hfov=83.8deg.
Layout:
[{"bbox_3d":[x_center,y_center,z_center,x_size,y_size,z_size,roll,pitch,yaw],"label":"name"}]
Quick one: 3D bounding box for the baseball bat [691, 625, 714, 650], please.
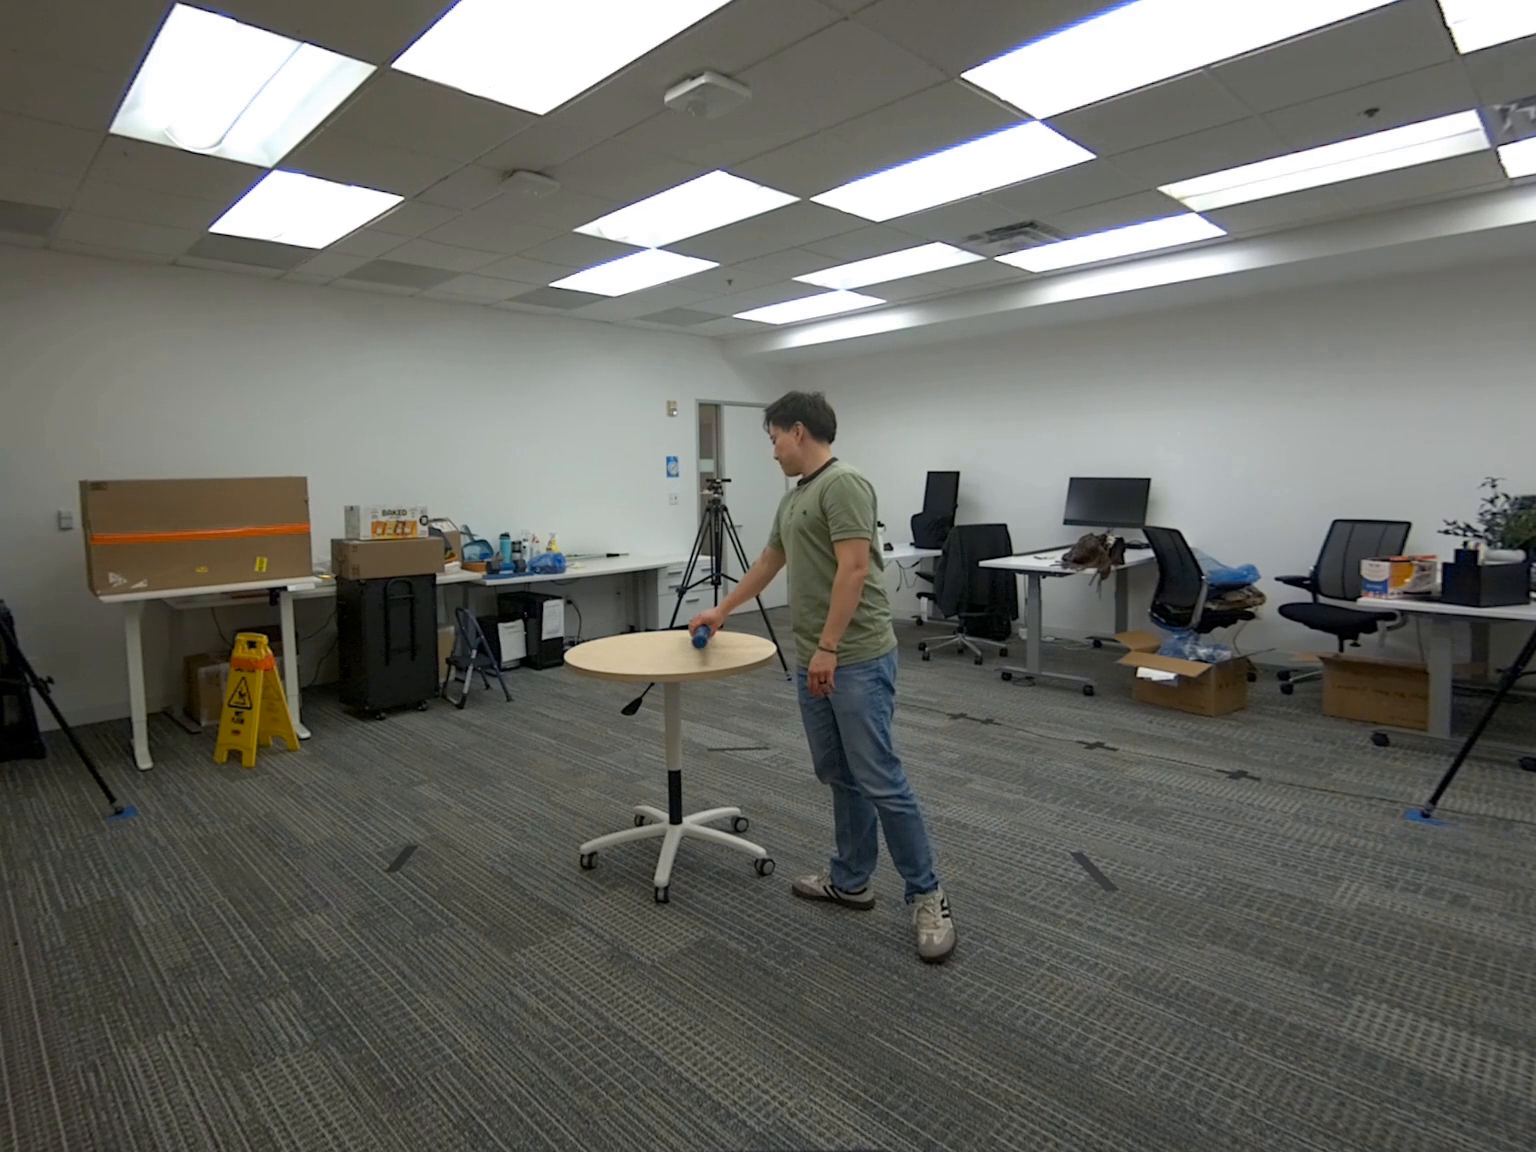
[{"bbox_3d":[-0.232,0.200,3.067,0.089,0.089,0.544,-1,3,-1],"label":"baseball bat"}]
